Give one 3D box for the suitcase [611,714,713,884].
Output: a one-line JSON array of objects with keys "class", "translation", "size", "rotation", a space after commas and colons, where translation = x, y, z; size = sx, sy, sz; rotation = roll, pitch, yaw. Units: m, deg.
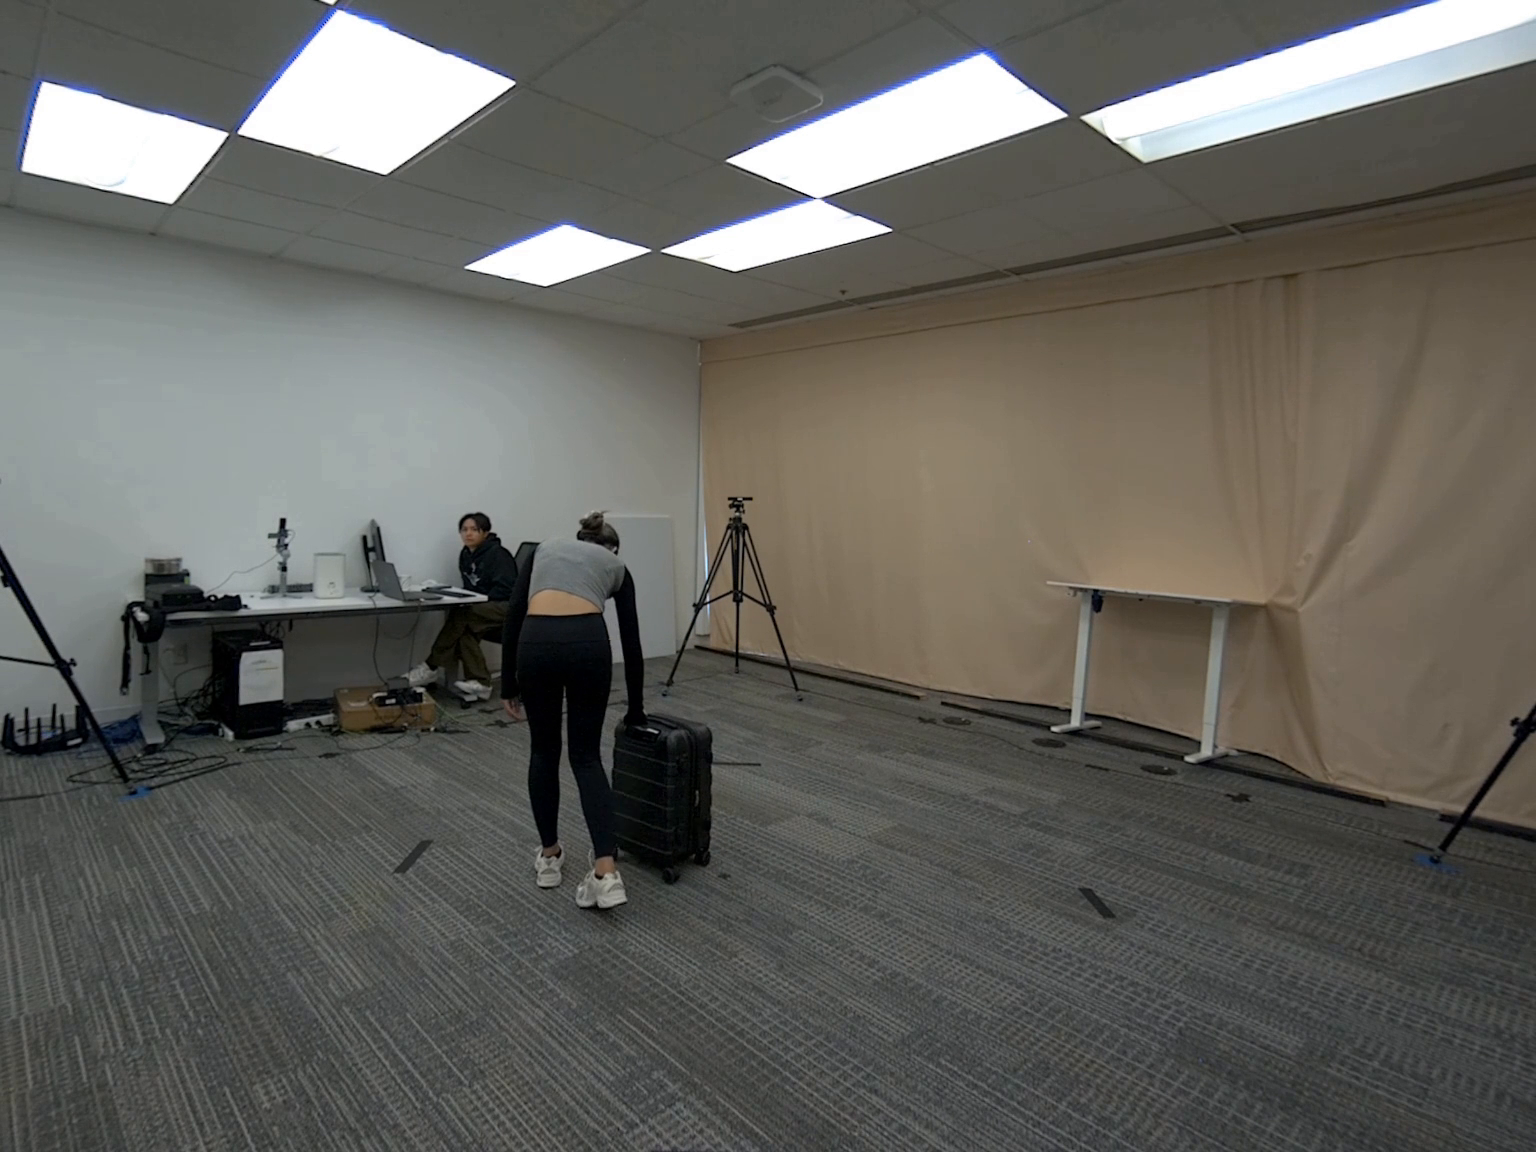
[{"class": "suitcase", "translation": [-0.415, 0.814, 3.226], "size": [0.385, 0.549, 0.242], "rotation": [3, 1, 41]}]
